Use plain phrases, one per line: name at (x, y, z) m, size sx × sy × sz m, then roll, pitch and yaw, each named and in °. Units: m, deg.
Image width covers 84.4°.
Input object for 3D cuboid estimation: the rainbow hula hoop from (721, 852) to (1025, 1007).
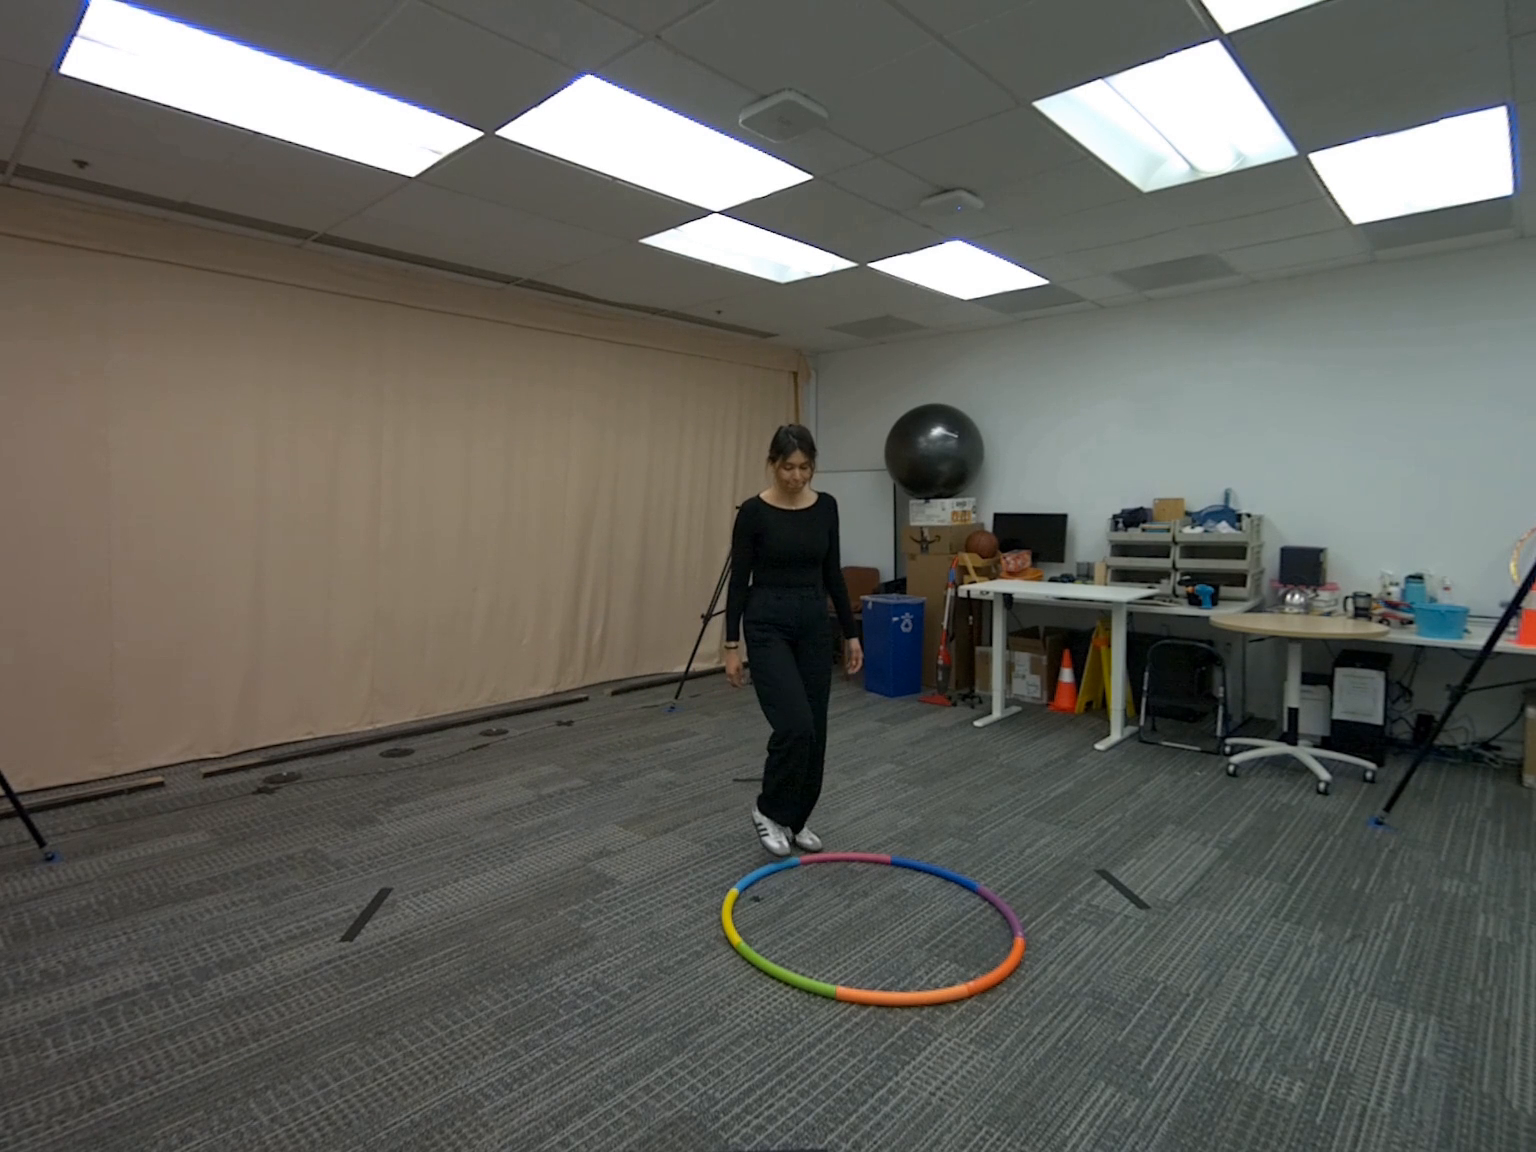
rainbow hula hoop at (0.337, 1.127, 2.825) m, size 0.978 × 0.035 × 0.982 m, roll 0°, pitch 5°, yaw -2°
